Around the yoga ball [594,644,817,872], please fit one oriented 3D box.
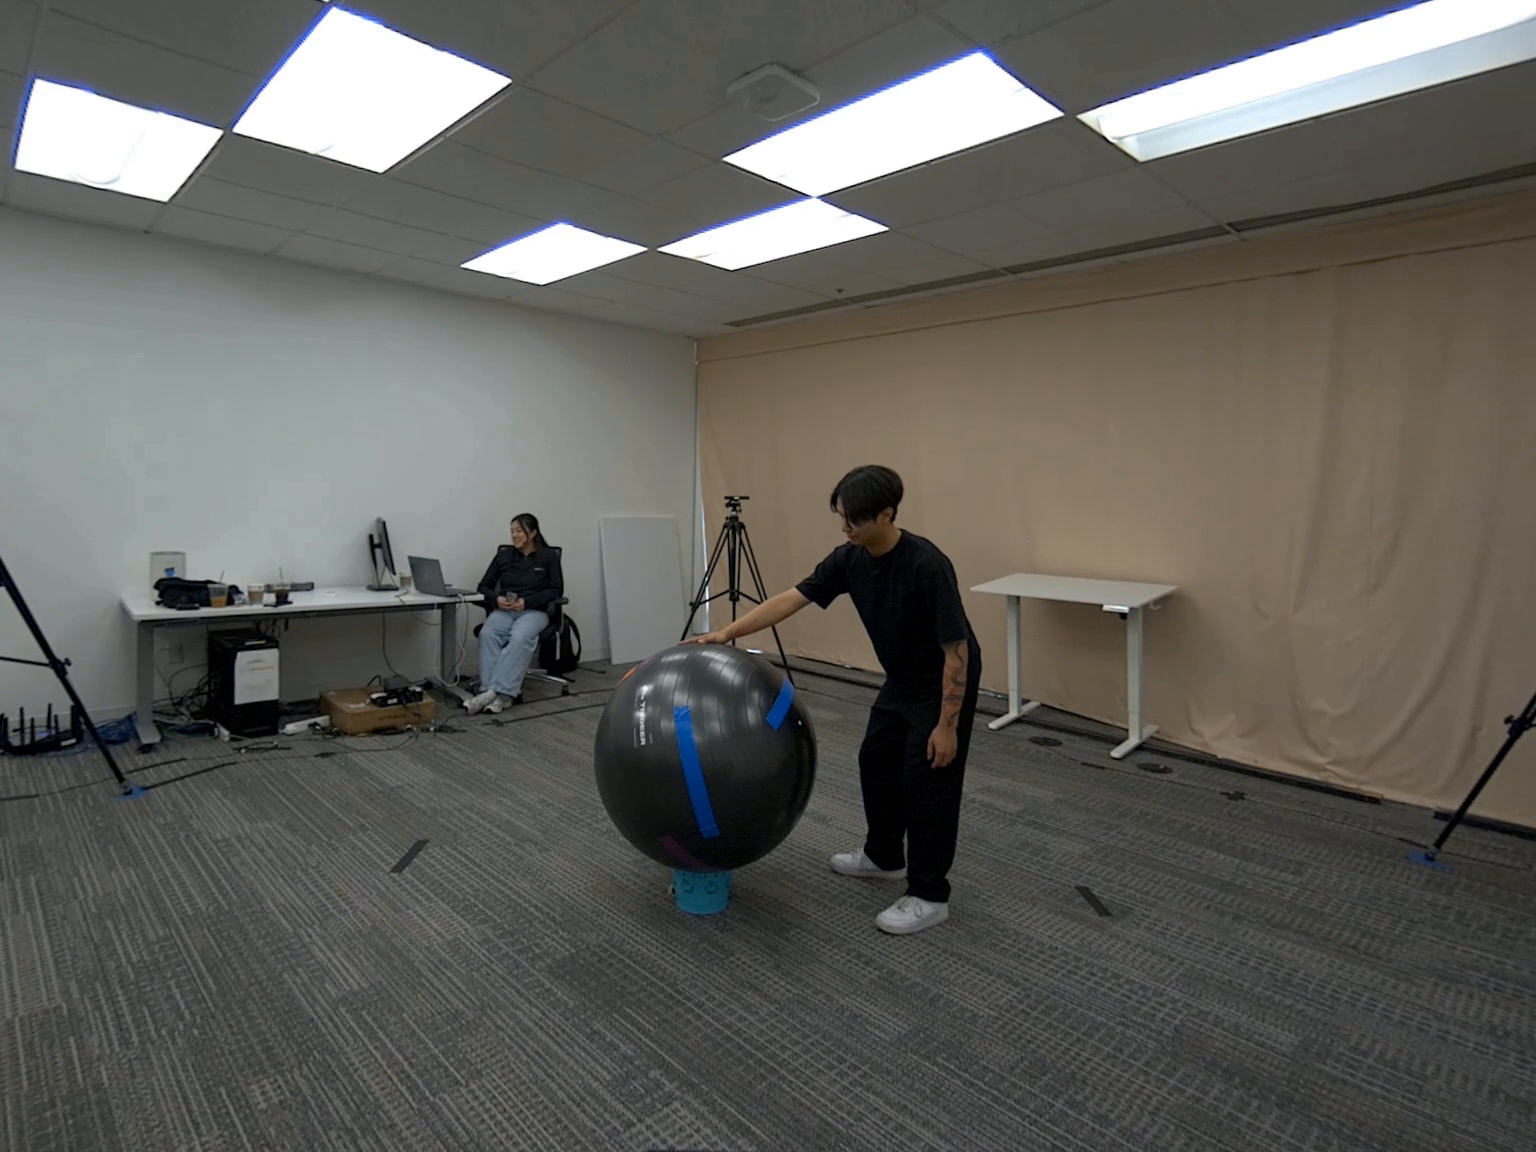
[{"bbox_3d":[-0.228,0.615,2.878,0.757,0.756,0.761,1,4,-1],"label":"yoga ball"}]
